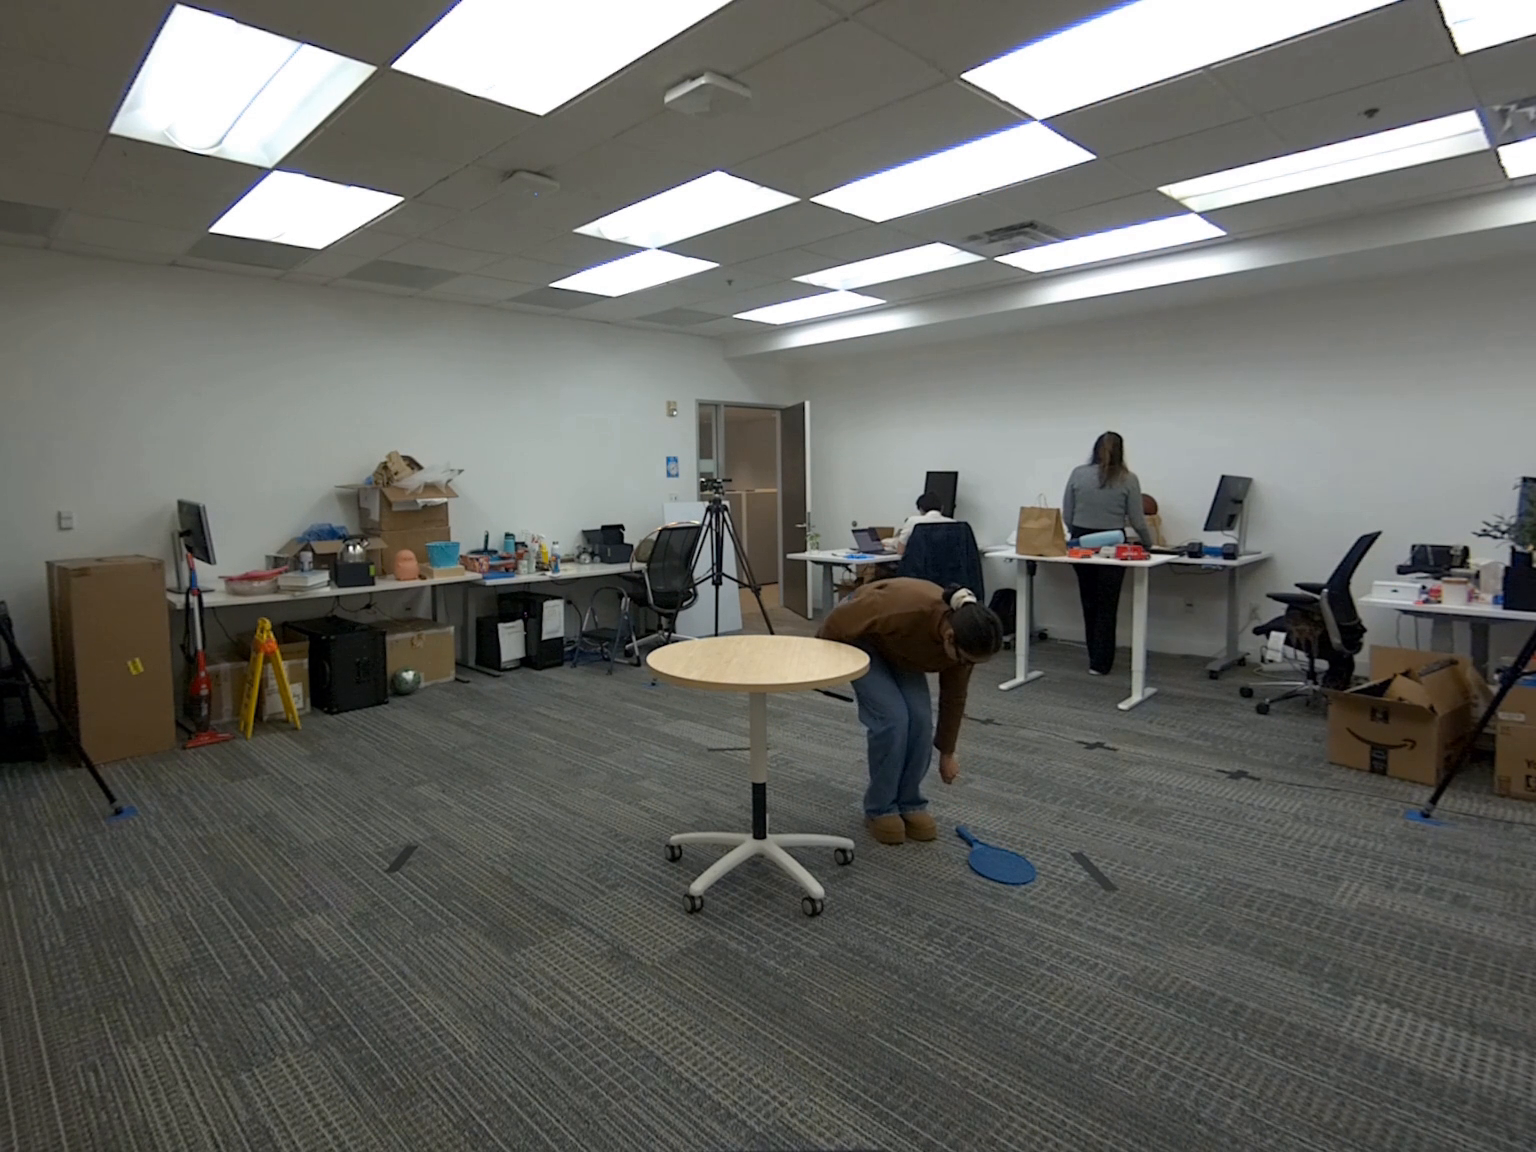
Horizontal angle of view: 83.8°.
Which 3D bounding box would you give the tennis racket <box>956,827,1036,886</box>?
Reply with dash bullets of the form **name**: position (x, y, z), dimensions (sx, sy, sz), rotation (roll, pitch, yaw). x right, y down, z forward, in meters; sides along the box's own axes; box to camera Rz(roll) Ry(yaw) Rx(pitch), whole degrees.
- **tennis racket**: position (0.797, 1.007, 3.117), dimensions (0.210, 0.031, 0.442), rotation (-2, 8, -17)
